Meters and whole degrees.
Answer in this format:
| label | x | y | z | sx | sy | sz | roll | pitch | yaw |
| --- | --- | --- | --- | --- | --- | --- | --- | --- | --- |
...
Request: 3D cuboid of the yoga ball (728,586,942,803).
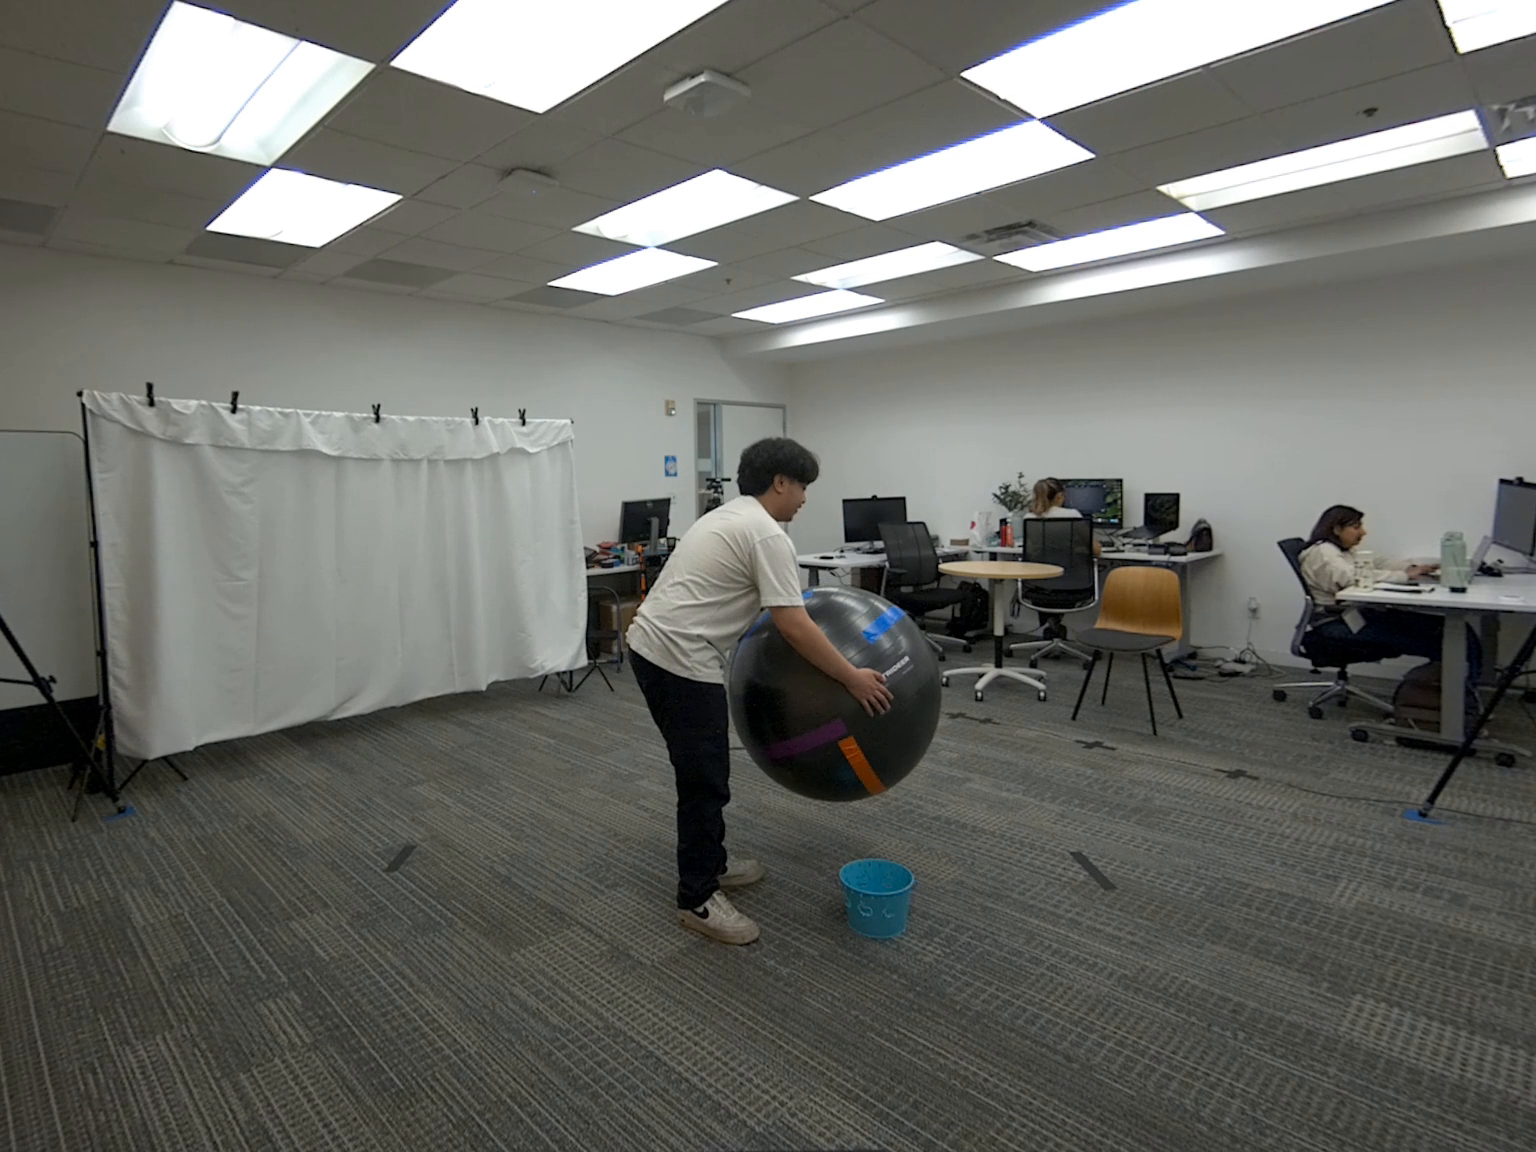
| label | x | y | z | sx | sy | sz | roll | pitch | yaw |
| --- | --- | --- | --- | --- | --- | --- | --- | --- | --- |
| yoga ball | 0.242 | 0.421 | 3.058 | 0.757 | 0.755 | 0.762 | -1 | 5 | -2 |
